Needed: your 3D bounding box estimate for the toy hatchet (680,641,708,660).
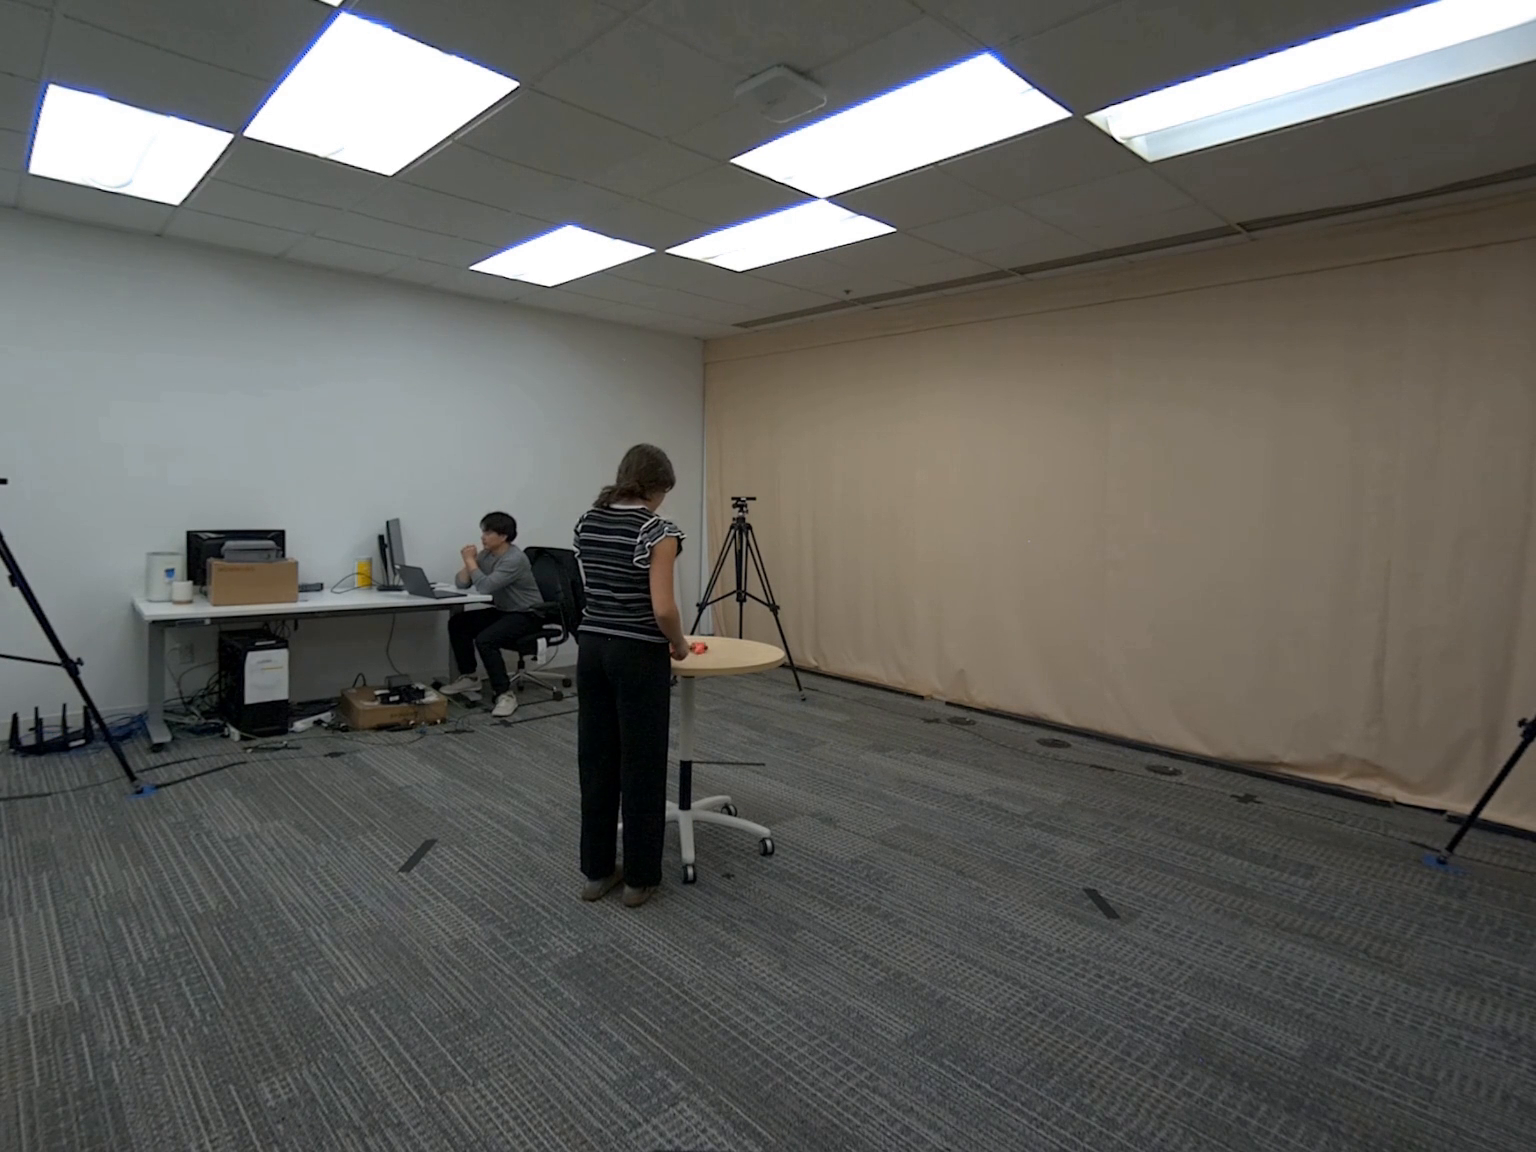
[{"bbox_3d":[-0.380,0.279,3.380,0.276,0.029,0.129,4,12,31],"label":"toy hatchet"}]
